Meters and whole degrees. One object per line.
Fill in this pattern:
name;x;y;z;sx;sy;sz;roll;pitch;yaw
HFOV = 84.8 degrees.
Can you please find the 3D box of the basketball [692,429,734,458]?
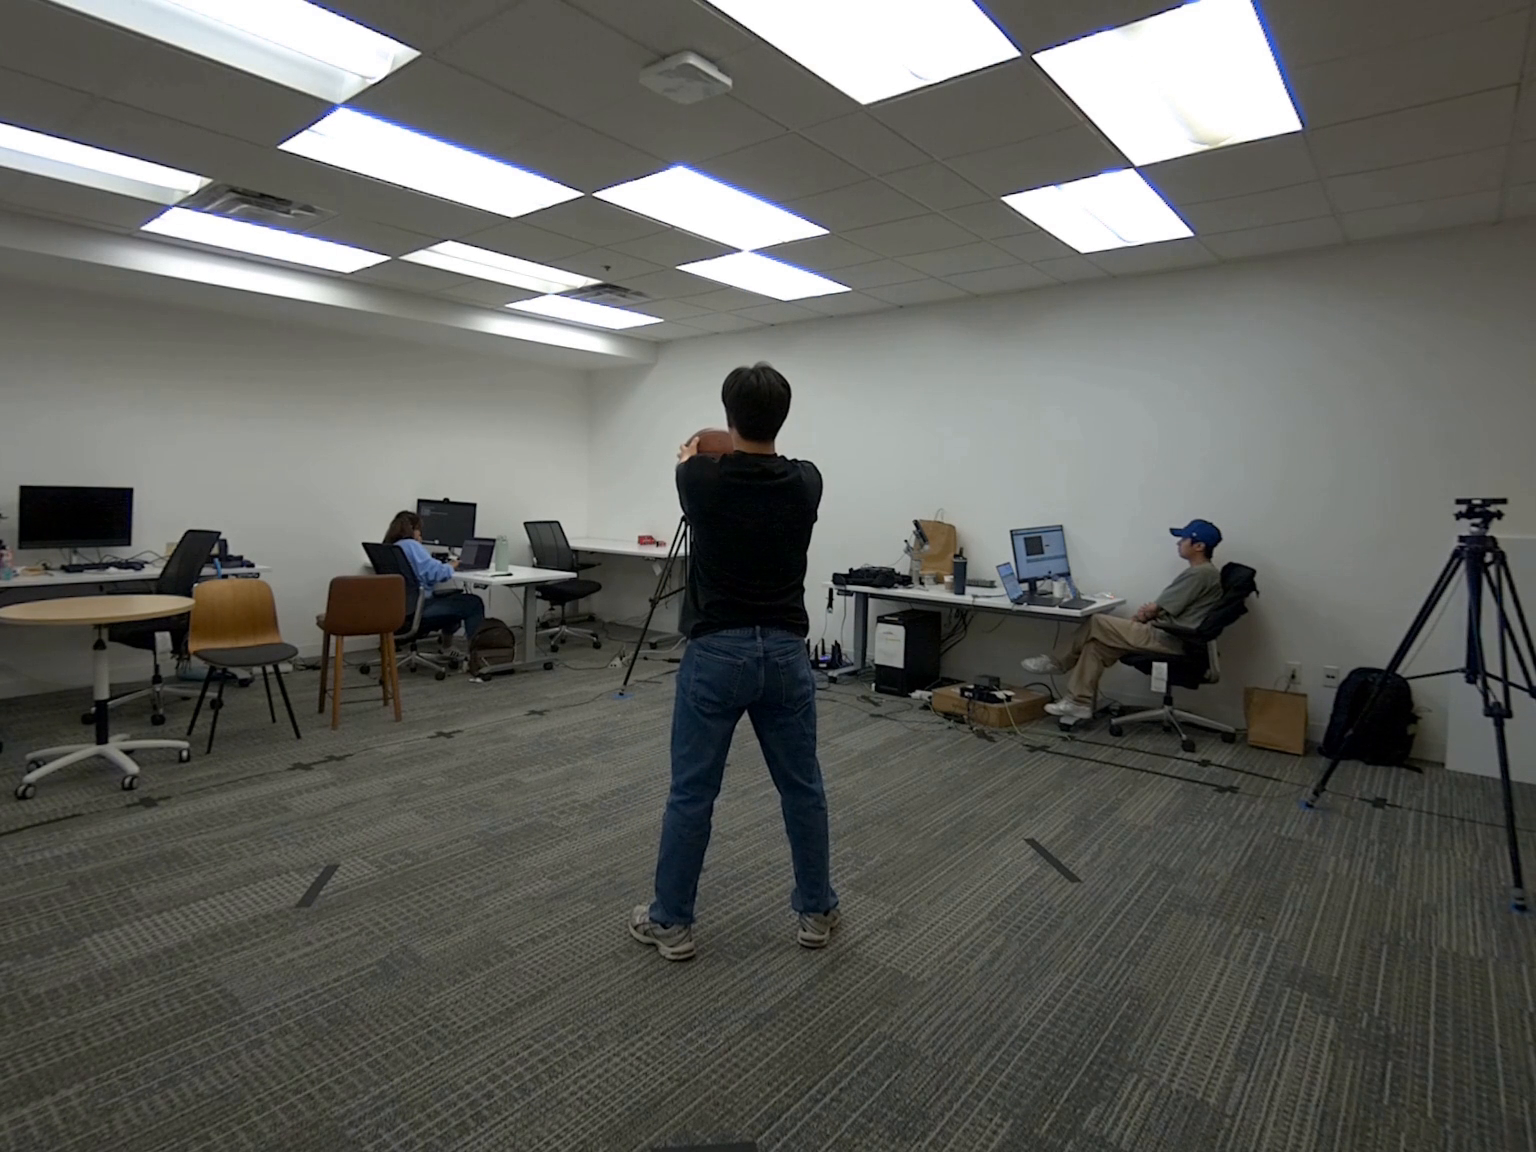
basketball;-0.210;-0.439;3.194;0.236;0.235;0.237;1;4;-2
